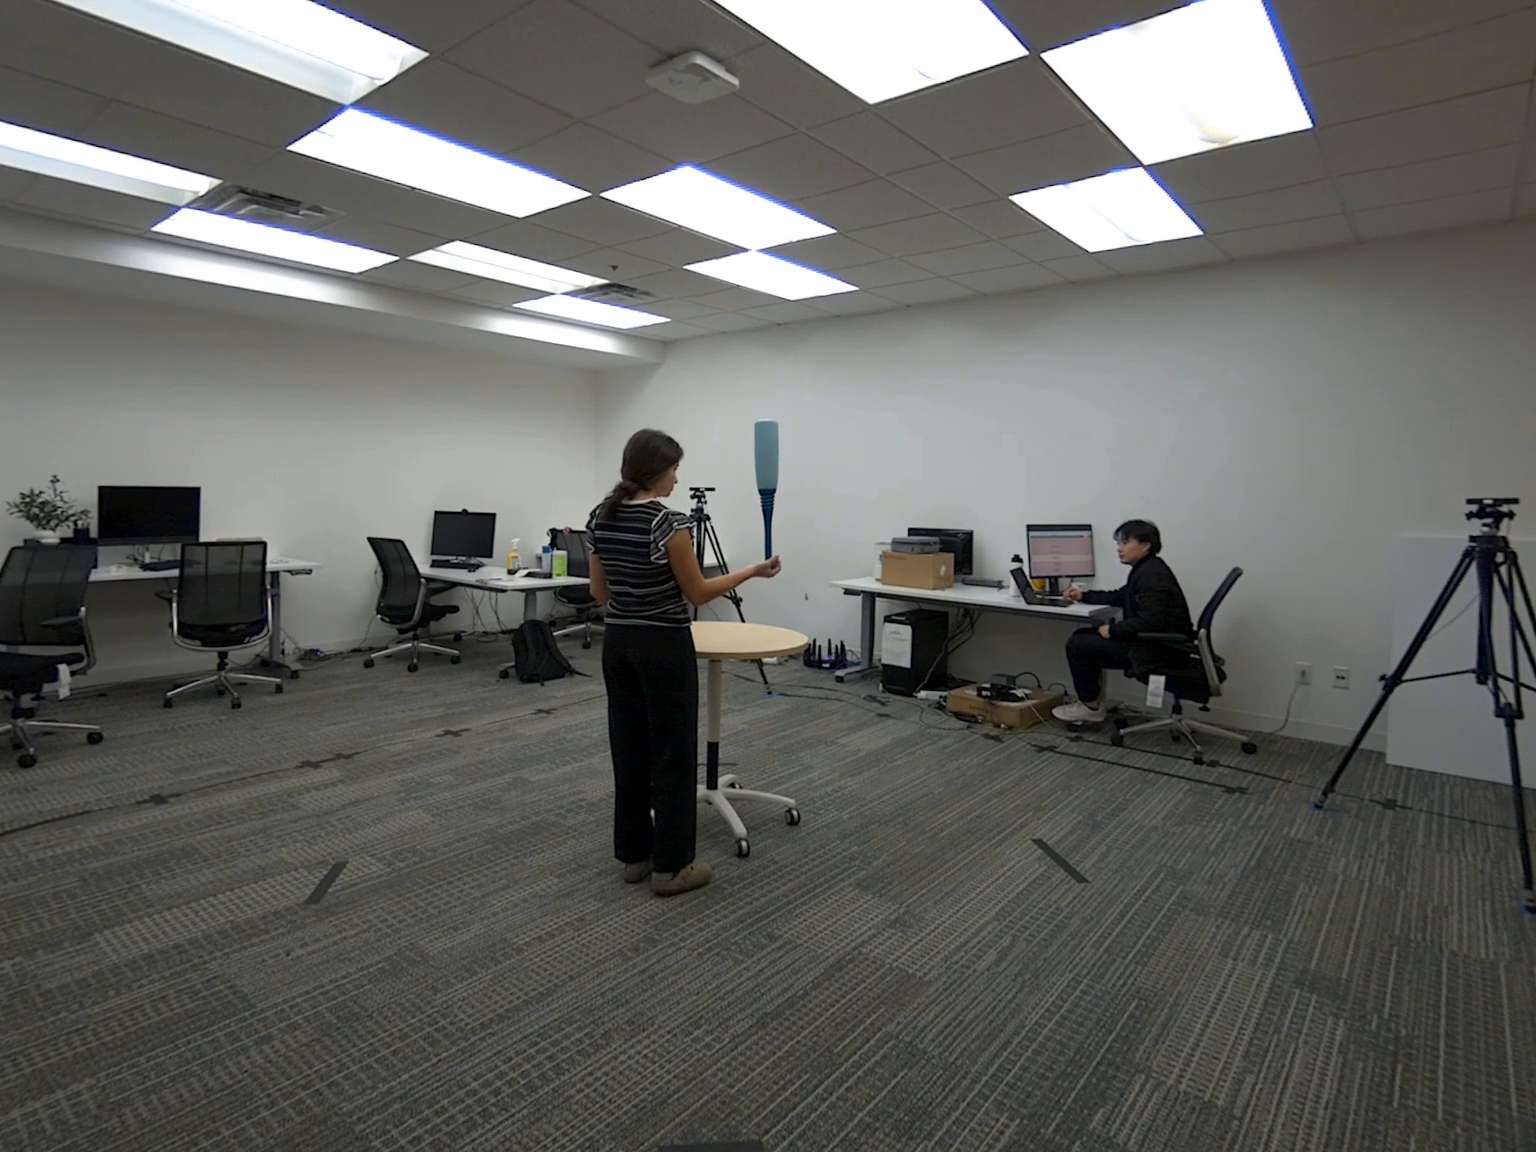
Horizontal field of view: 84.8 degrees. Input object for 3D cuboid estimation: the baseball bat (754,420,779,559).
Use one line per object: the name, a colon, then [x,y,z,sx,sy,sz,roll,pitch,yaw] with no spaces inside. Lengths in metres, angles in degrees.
baseball bat: [-0.016,-0.298,3.084,0.089,0.542,0.089,-2,1,-2]
